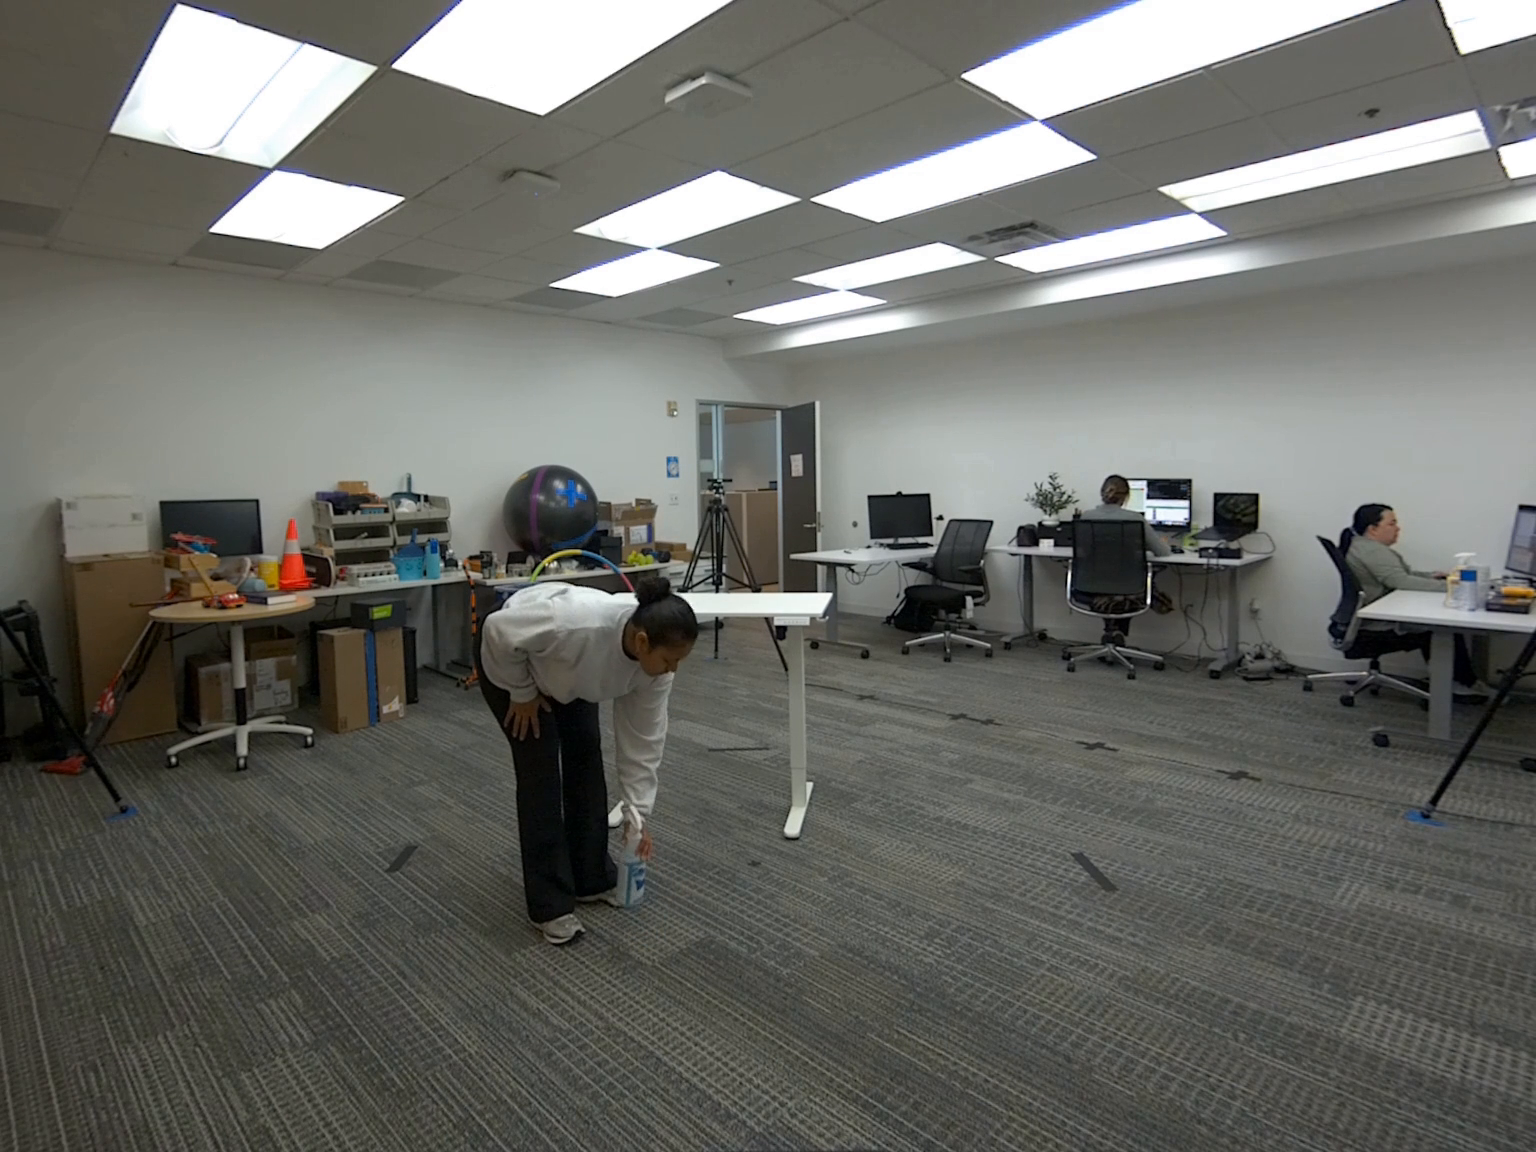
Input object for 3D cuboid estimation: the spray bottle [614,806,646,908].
[{"bbox_3d":[-0.428,0.850,2.627,0.087,0.296,0.090,5,6,-1],"label":"spray bottle"}]
